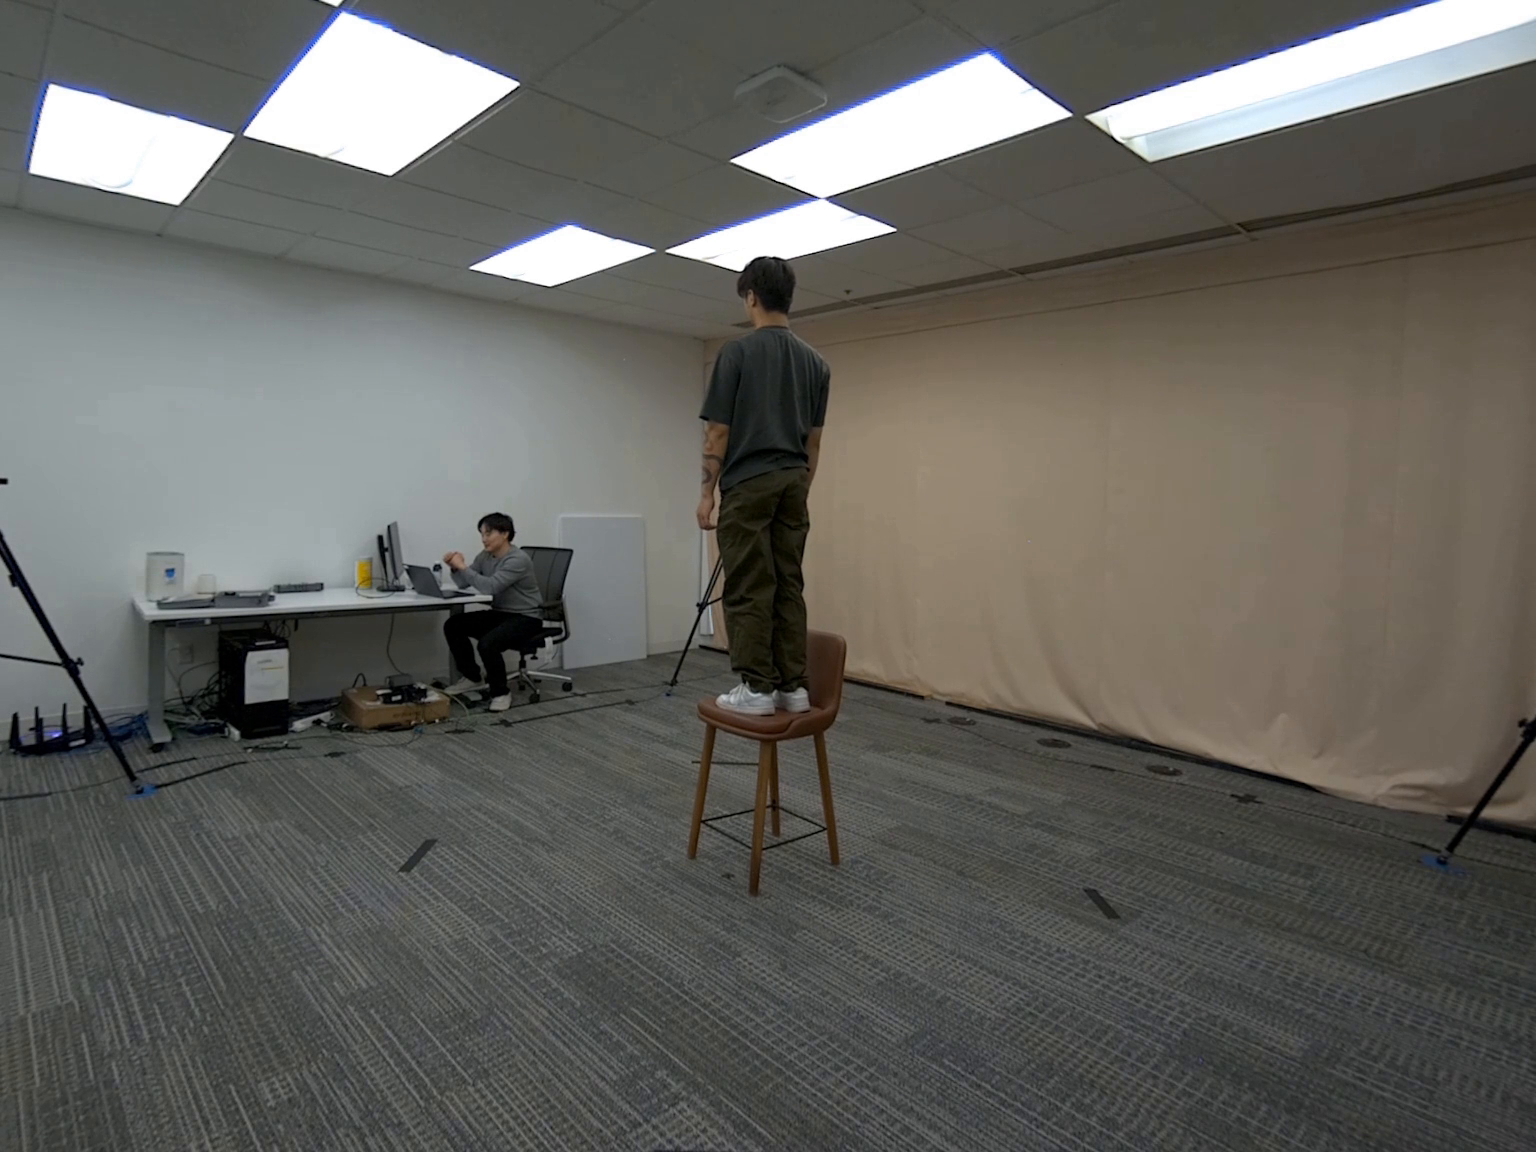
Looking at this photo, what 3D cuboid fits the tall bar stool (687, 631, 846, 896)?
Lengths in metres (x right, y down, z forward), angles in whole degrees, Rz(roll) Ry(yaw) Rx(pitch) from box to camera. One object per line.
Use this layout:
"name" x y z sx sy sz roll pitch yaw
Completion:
"tall bar stool" -0.004 0.663 3.221 0.456 0.888 0.468 1 3 -40
